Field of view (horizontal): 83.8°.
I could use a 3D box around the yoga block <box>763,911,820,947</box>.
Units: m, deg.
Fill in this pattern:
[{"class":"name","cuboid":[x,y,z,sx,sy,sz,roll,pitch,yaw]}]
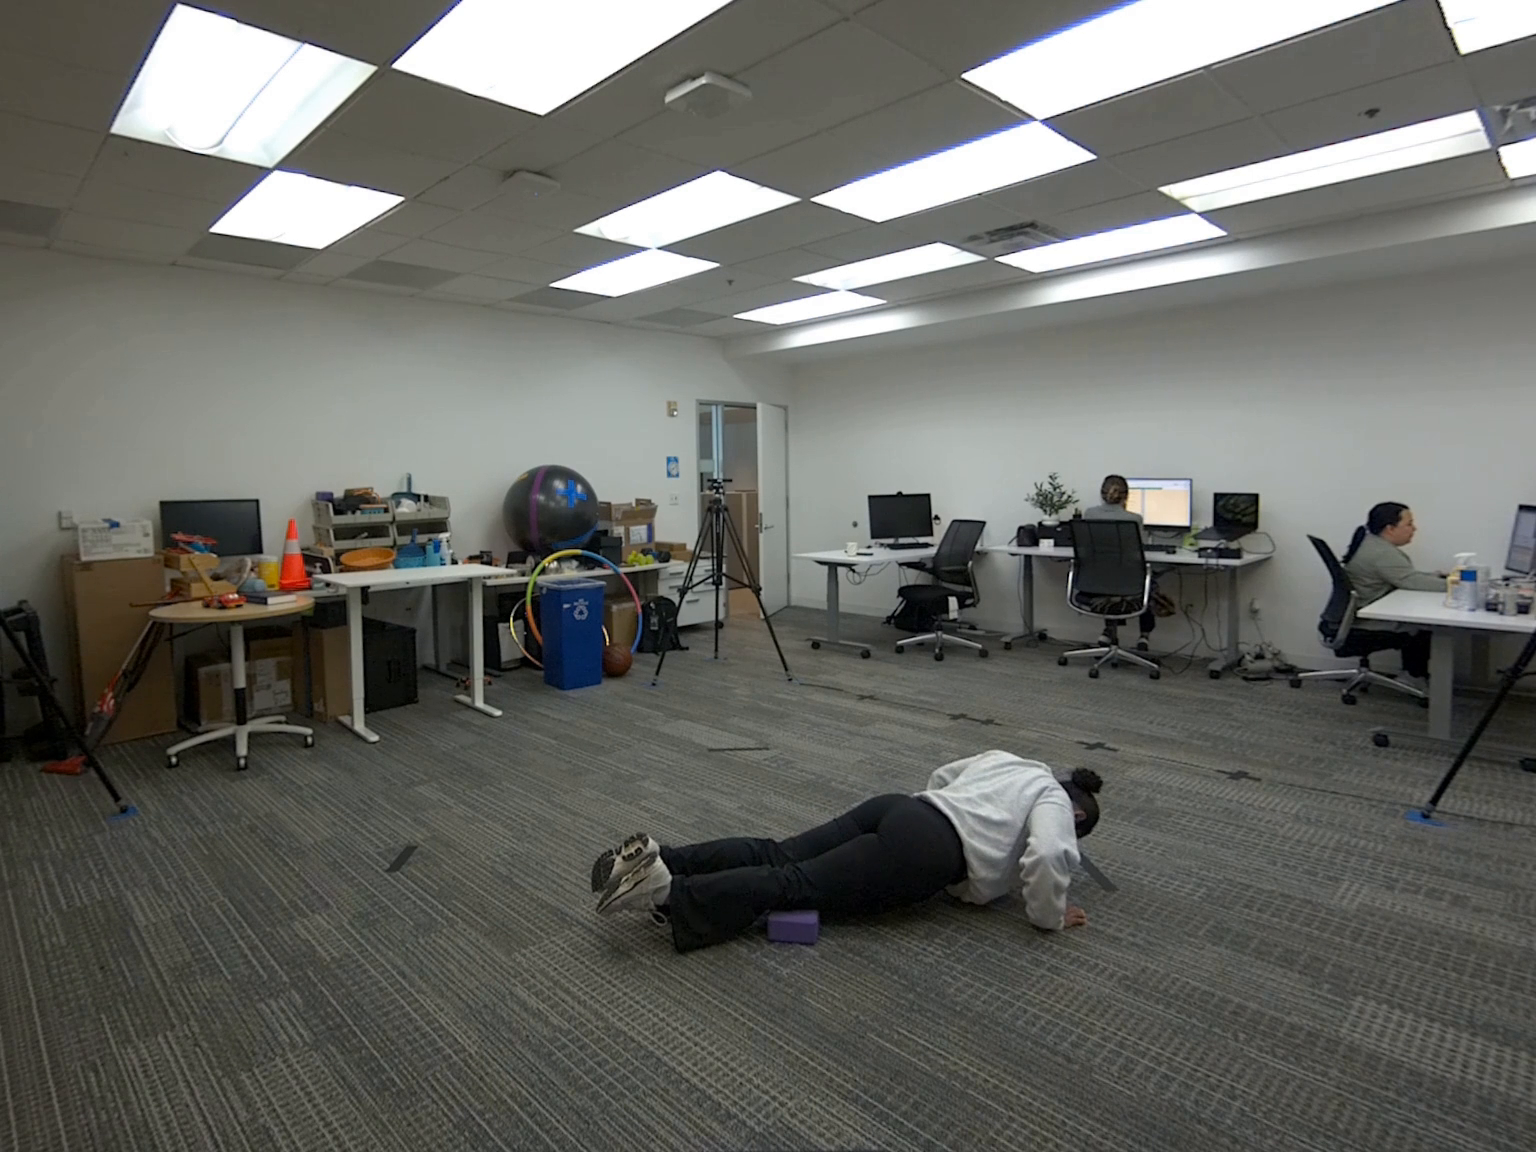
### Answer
[{"class":"yoga block","cuboid":[0.078,1.050,2.678,0.150,0.076,0.228,0,7,8]}]
